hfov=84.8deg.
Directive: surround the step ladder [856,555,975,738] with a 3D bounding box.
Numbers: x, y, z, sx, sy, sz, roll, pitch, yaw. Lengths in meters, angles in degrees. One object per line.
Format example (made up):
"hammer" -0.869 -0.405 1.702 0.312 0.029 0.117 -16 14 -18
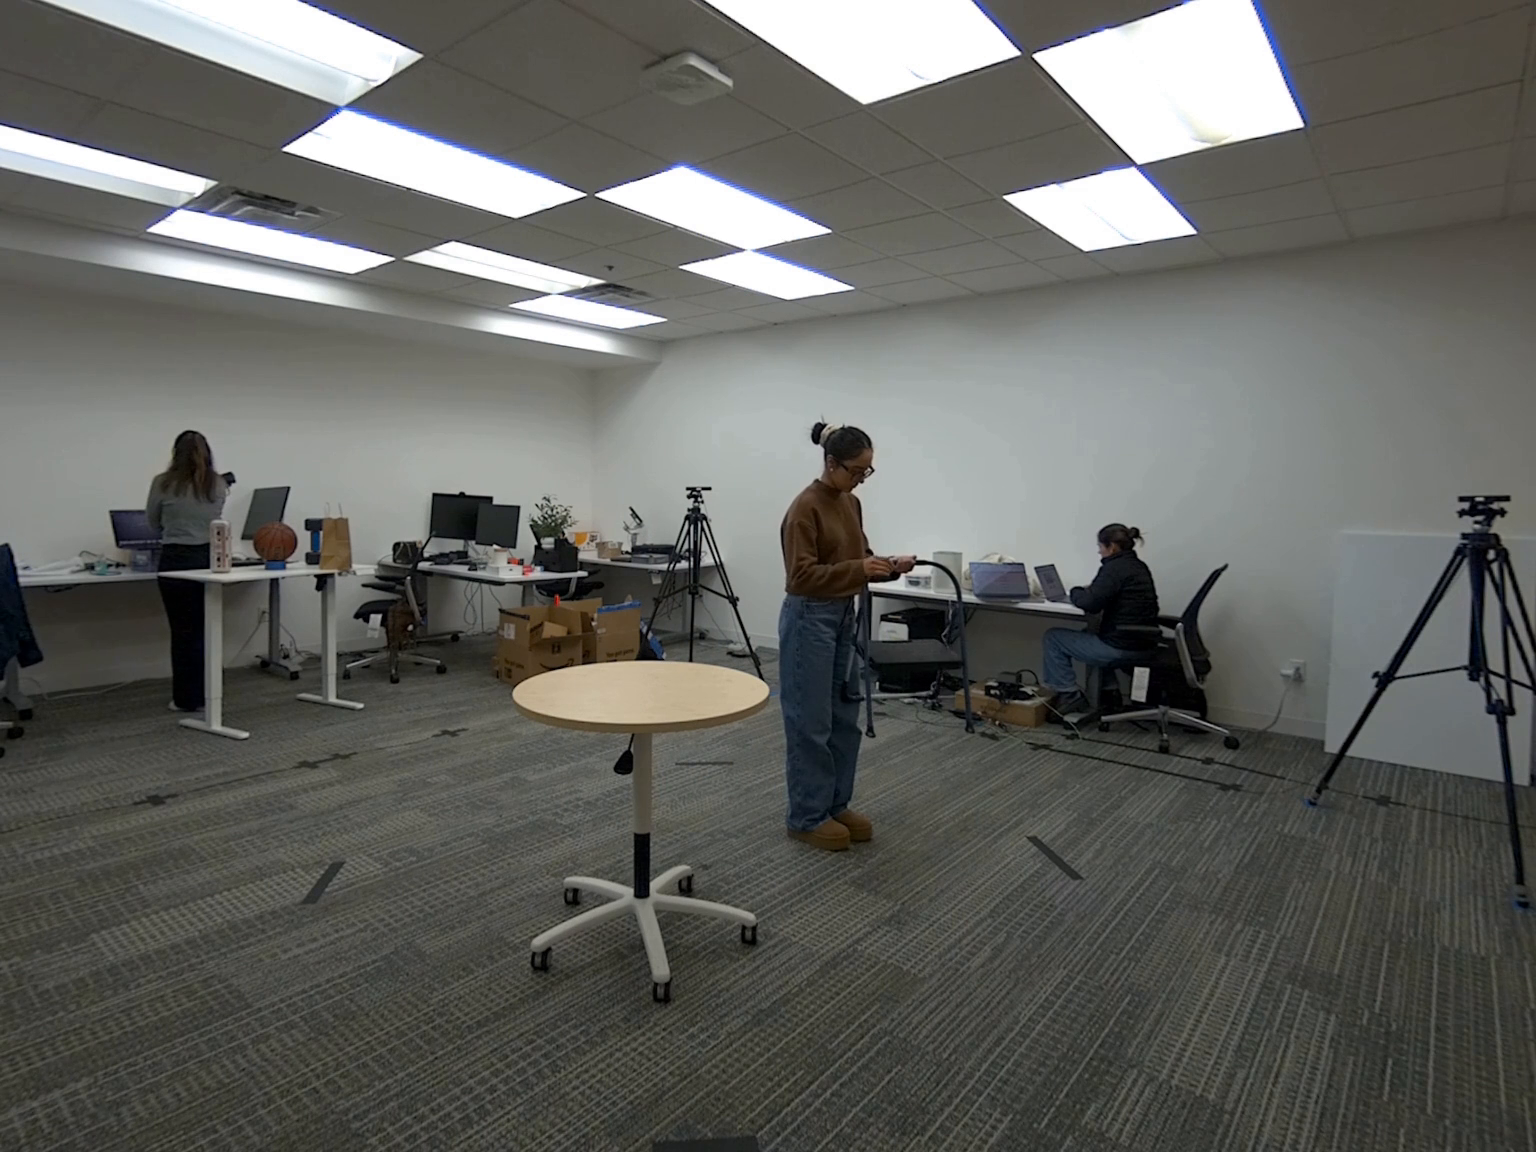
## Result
"step ladder" 0.548 0.259 3.239 0.425 0.600 0.357 -1 12 -13
